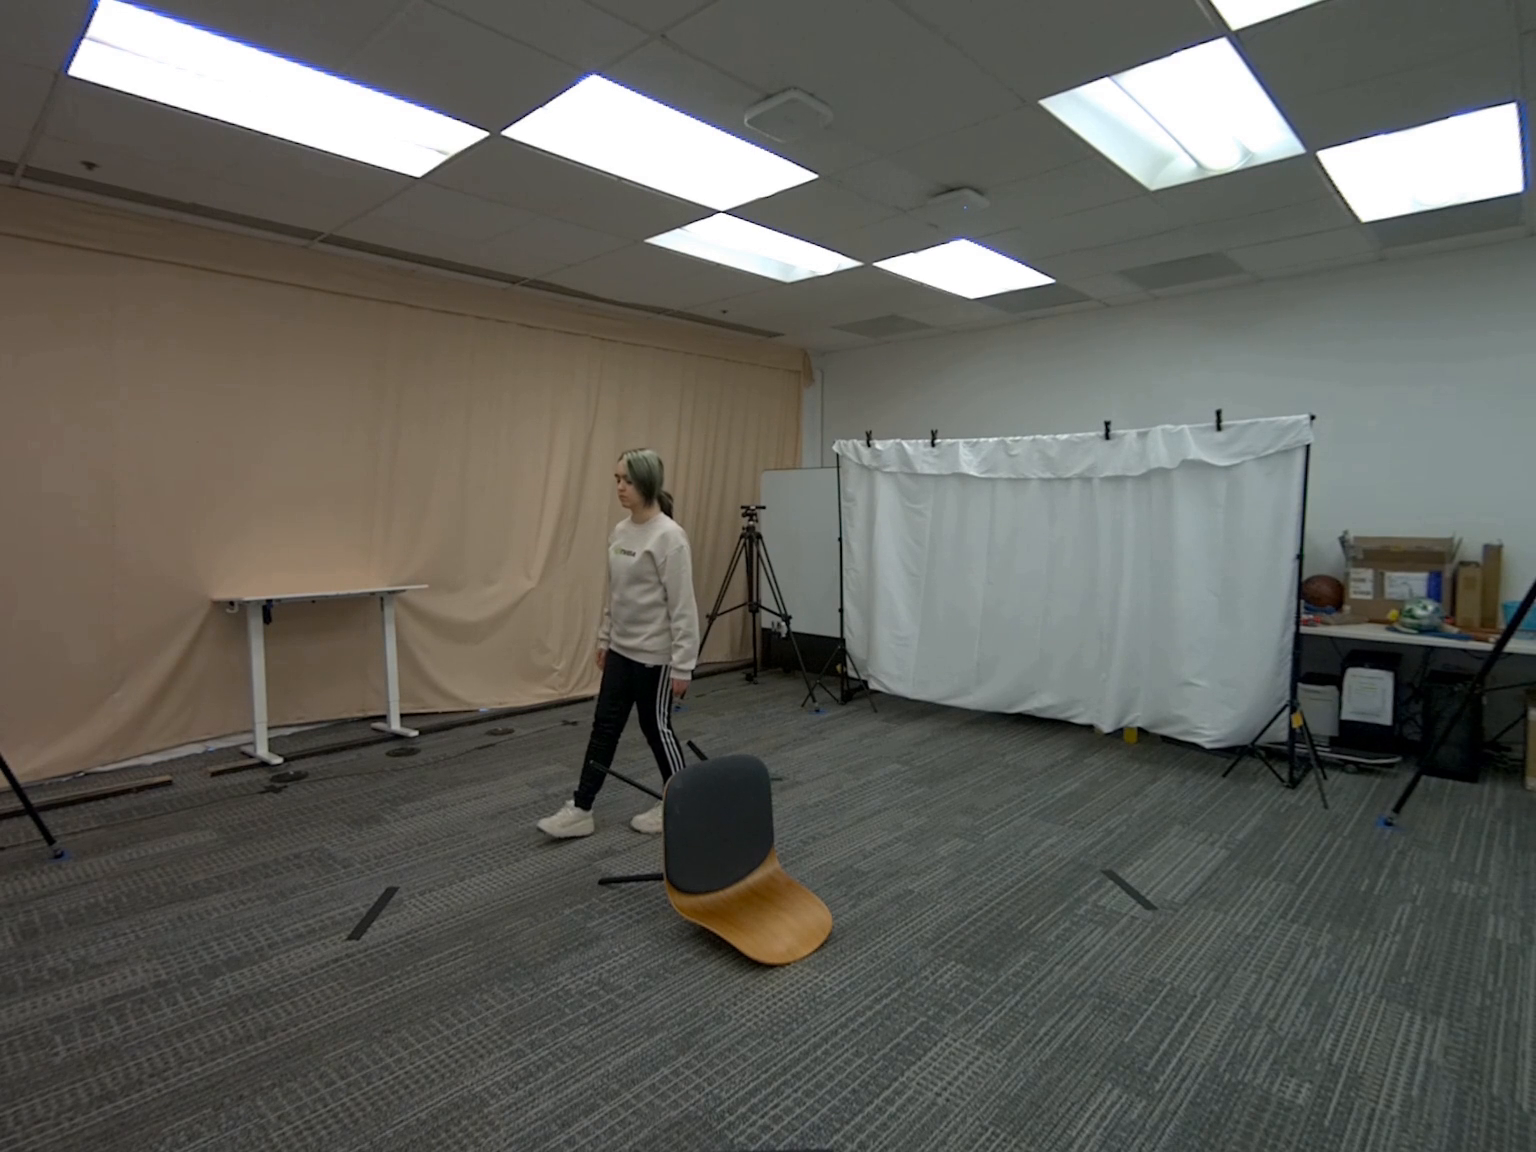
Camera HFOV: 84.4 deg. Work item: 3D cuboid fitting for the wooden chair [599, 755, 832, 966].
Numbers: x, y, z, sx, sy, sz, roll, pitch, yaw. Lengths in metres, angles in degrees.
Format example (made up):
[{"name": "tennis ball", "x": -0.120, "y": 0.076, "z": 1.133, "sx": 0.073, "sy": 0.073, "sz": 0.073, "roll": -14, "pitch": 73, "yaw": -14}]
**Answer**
[{"name": "wooden chair", "x": -0.189, "y": 0.894, "z": 2.909, "sx": 0.464, "sy": 0.521, "sz": 0.907, "roll": -3, "pitch": 6, "yaw": -39}]
